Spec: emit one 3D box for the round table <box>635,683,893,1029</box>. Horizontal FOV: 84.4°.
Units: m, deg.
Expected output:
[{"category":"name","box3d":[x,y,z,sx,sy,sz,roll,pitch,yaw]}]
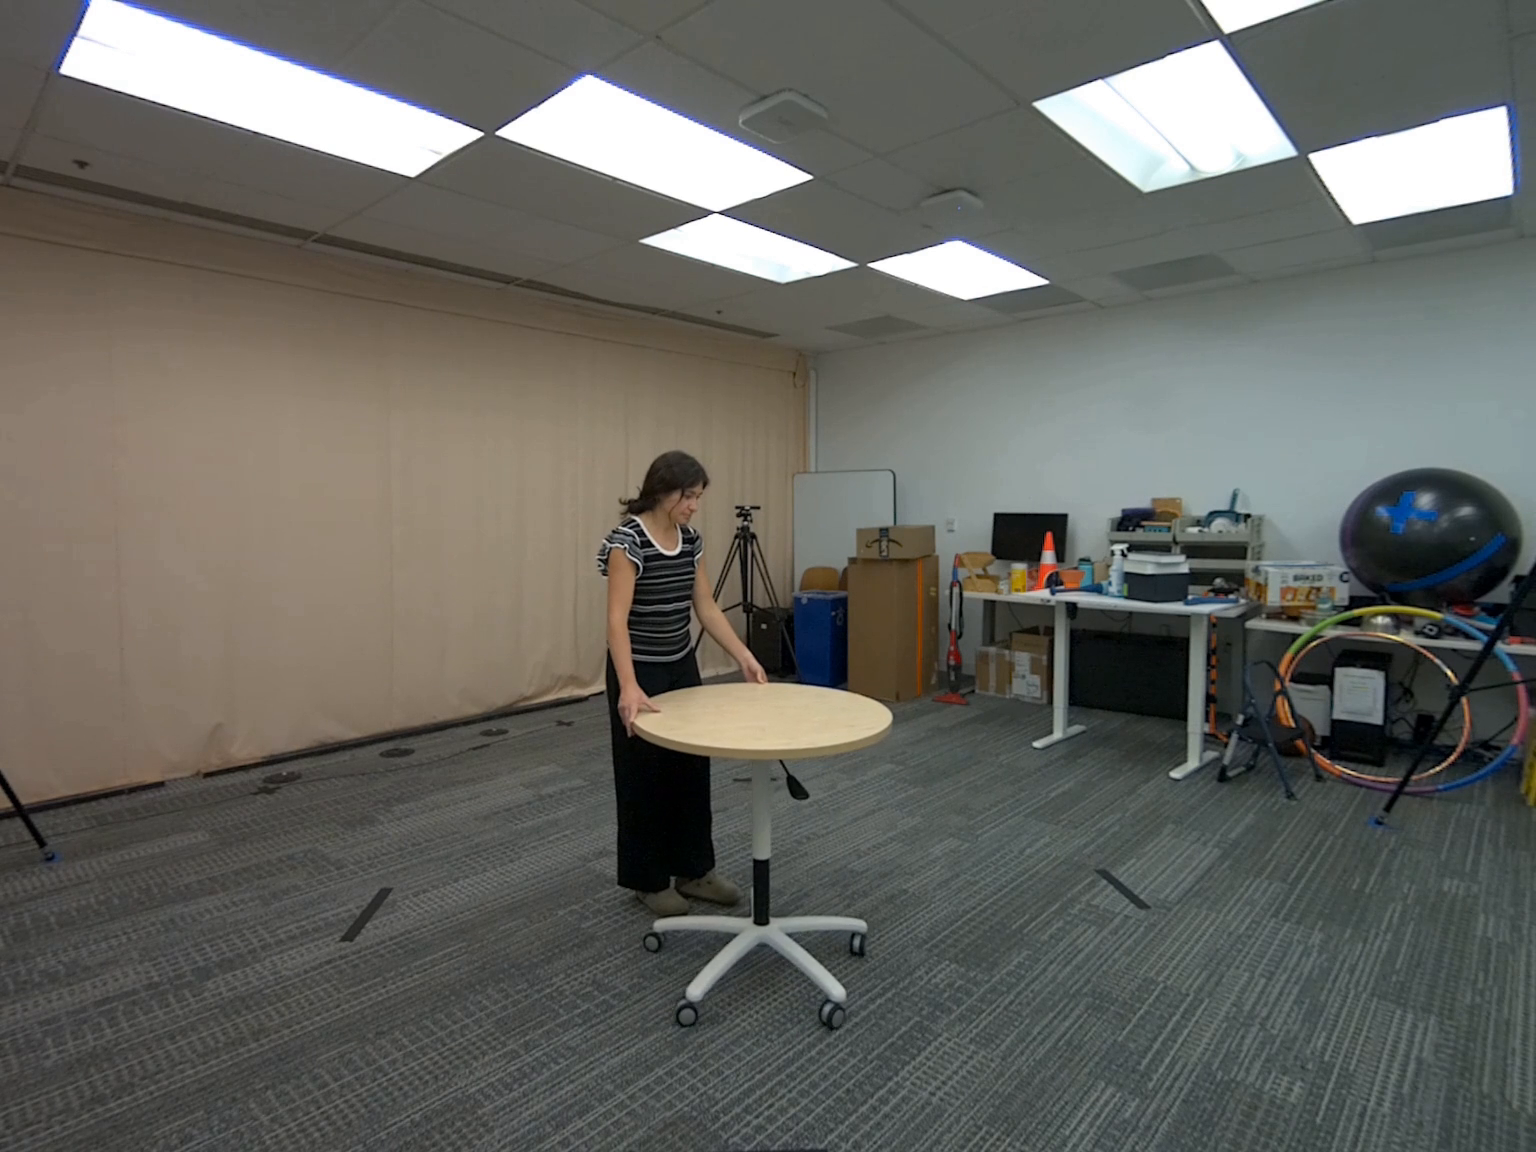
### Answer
[{"category":"round table","box3d":[-0.012,0.791,2.503,0.784,0.784,0.788,0,4,-2]}]
